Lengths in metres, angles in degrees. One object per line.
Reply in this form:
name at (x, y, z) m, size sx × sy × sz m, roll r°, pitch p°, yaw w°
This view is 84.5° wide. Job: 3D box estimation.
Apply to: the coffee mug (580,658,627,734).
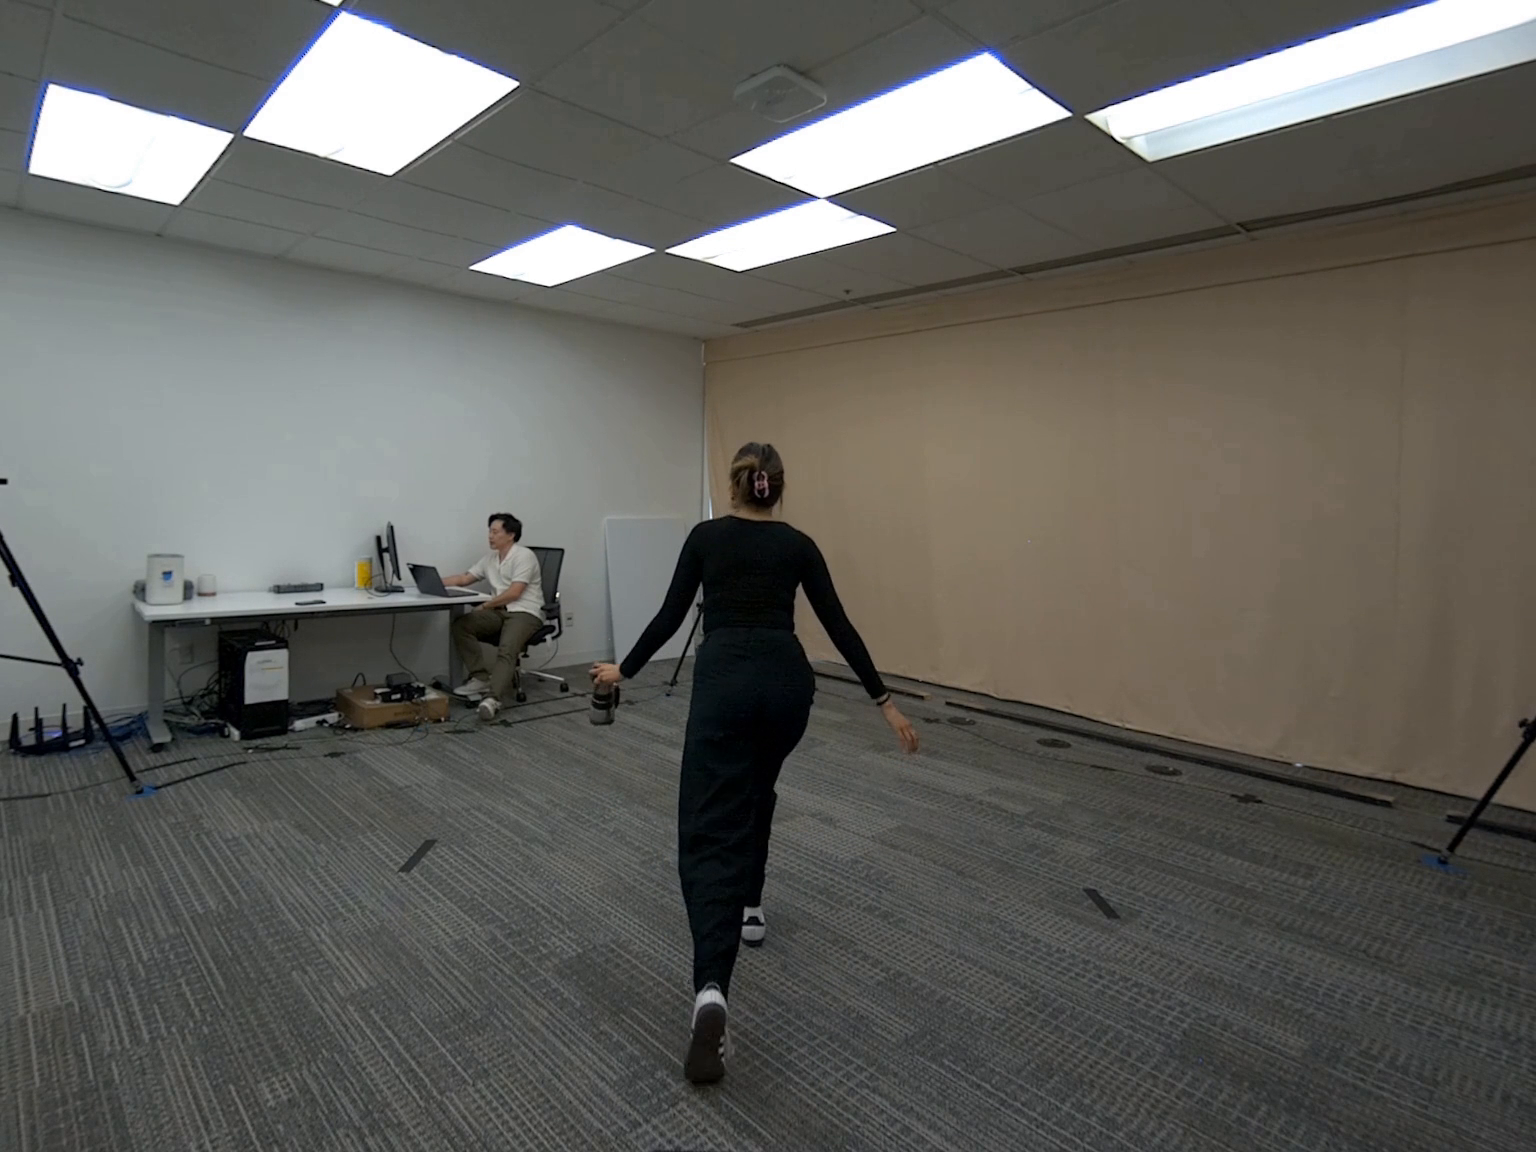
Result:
coffee mug at (-0.559, 0.402, 2.863) m, size 0.086 × 0.200 × 0.126 m, roll -17°, pitch 25°, yaw -36°
